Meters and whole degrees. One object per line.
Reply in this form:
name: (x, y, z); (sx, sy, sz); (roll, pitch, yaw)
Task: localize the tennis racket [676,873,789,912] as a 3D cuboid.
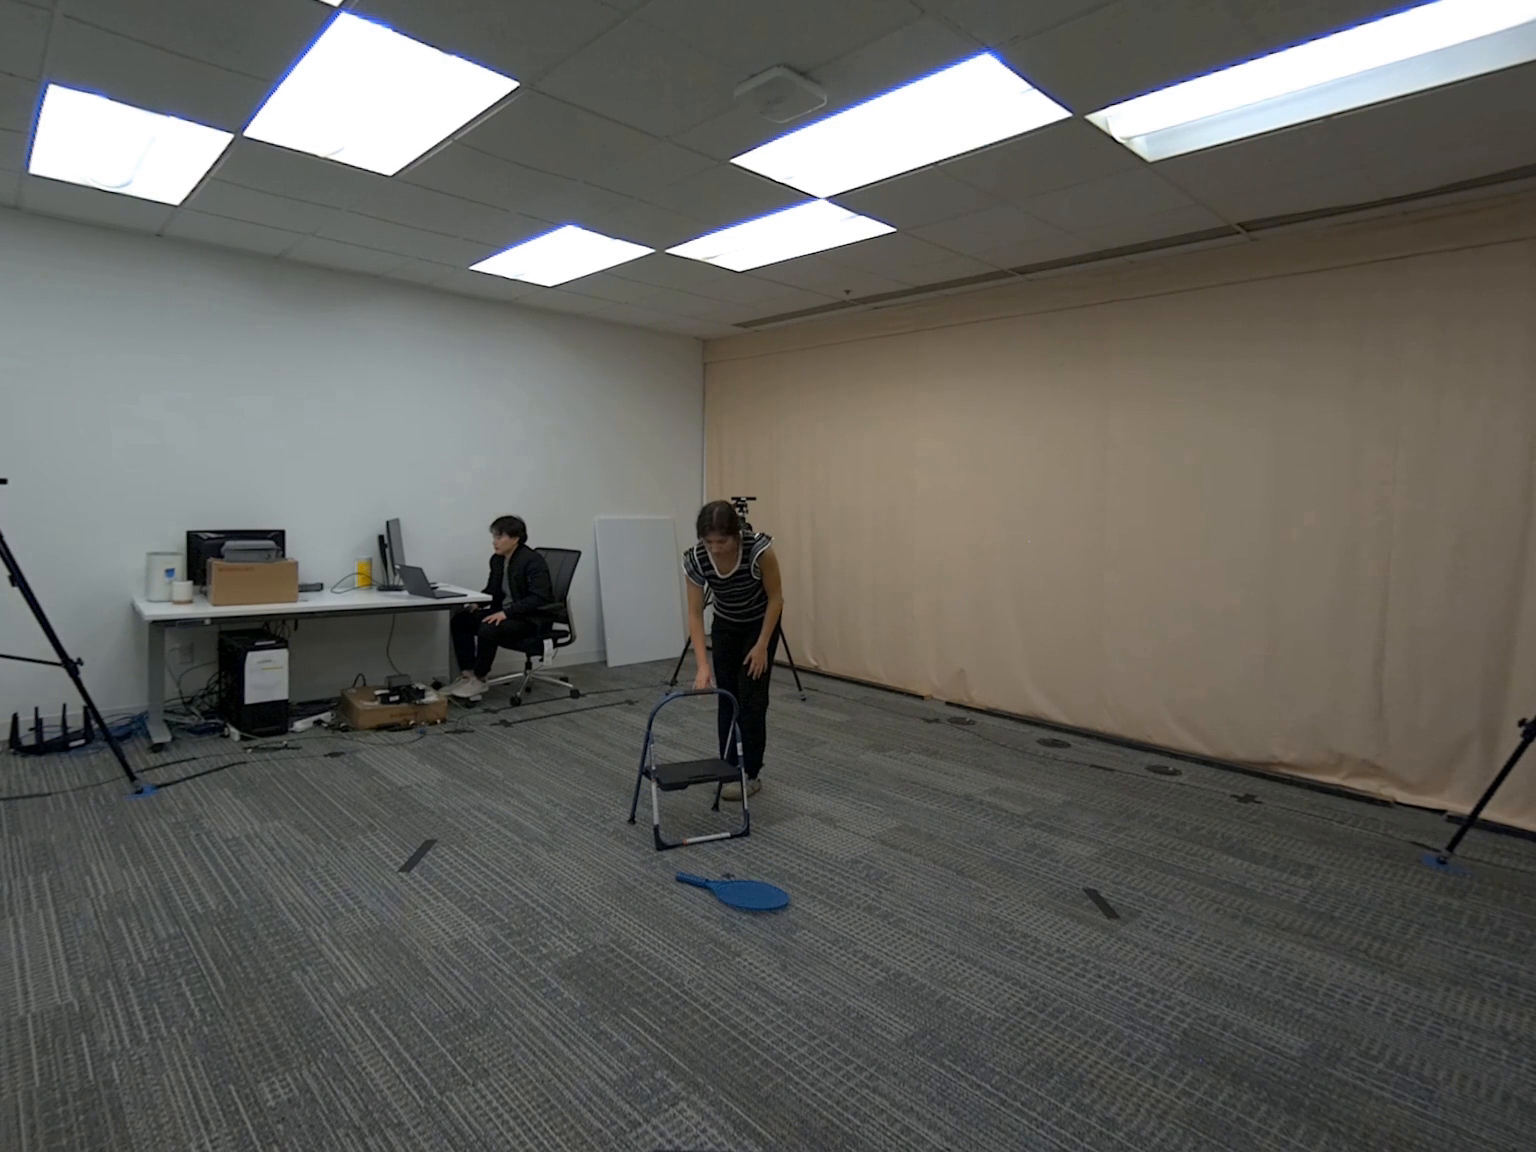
tennis racket: (-0.142, 1.102, 2.964); (0.442, 0.031, 0.210); (4, 6, 28)
